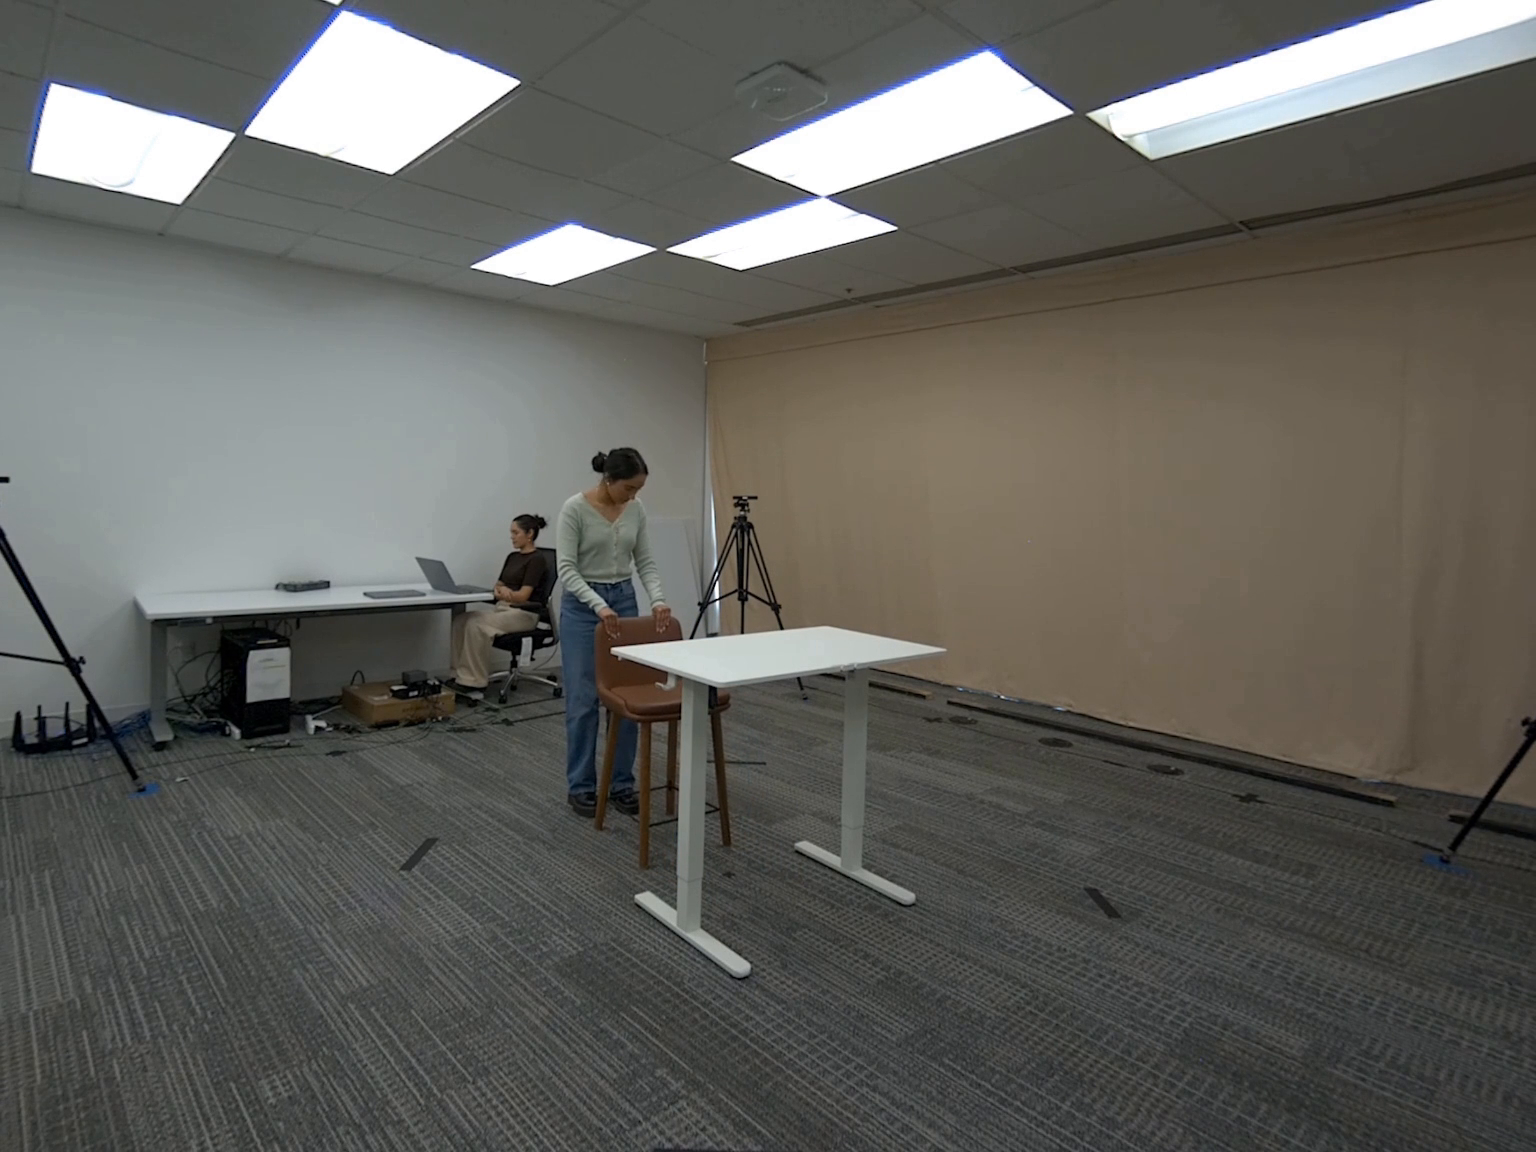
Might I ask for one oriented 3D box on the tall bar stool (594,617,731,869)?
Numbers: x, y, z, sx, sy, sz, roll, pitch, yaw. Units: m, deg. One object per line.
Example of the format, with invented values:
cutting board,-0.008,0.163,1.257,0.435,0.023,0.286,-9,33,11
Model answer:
tall bar stool,-0.446,0.629,3.413,0.446,0.888,0.478,-1,3,-36
